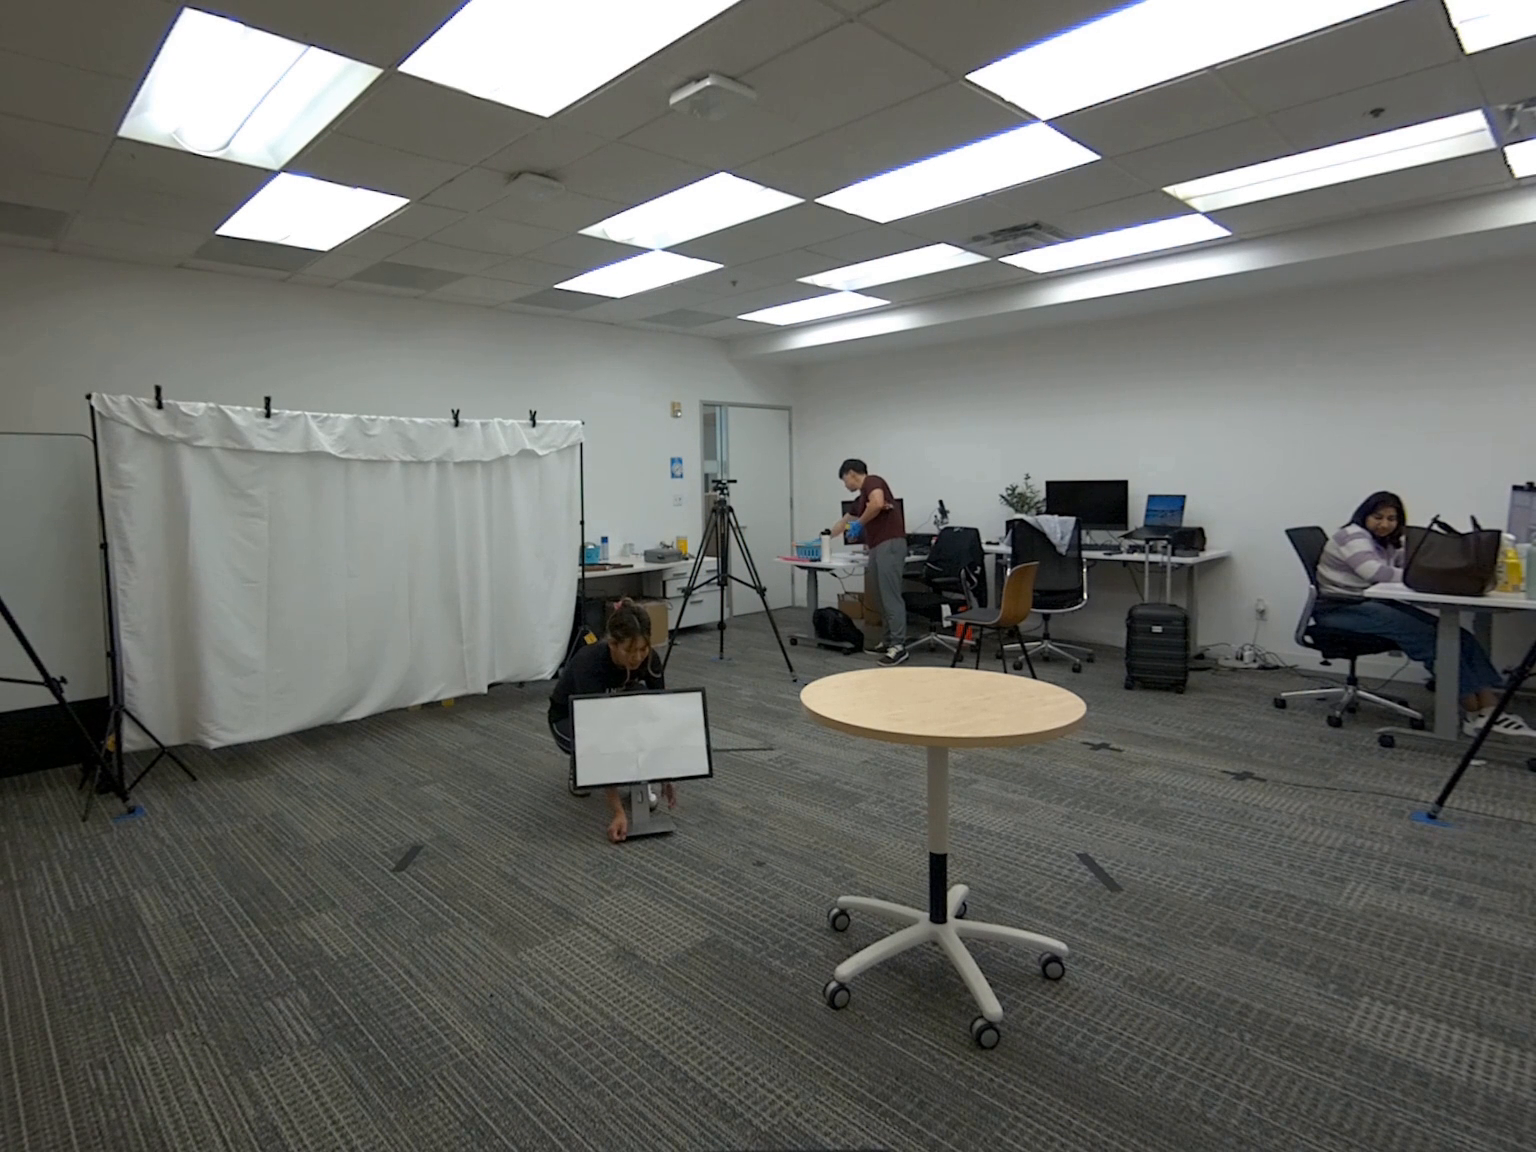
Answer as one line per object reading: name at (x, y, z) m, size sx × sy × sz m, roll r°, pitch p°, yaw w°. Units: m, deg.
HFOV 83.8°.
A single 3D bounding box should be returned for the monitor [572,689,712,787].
monitor at (-0.516, 0.742, 3.439) m, size 0.530 × 0.525 × 0.189 m, roll -1°, pitch -5°, yaw -17°
